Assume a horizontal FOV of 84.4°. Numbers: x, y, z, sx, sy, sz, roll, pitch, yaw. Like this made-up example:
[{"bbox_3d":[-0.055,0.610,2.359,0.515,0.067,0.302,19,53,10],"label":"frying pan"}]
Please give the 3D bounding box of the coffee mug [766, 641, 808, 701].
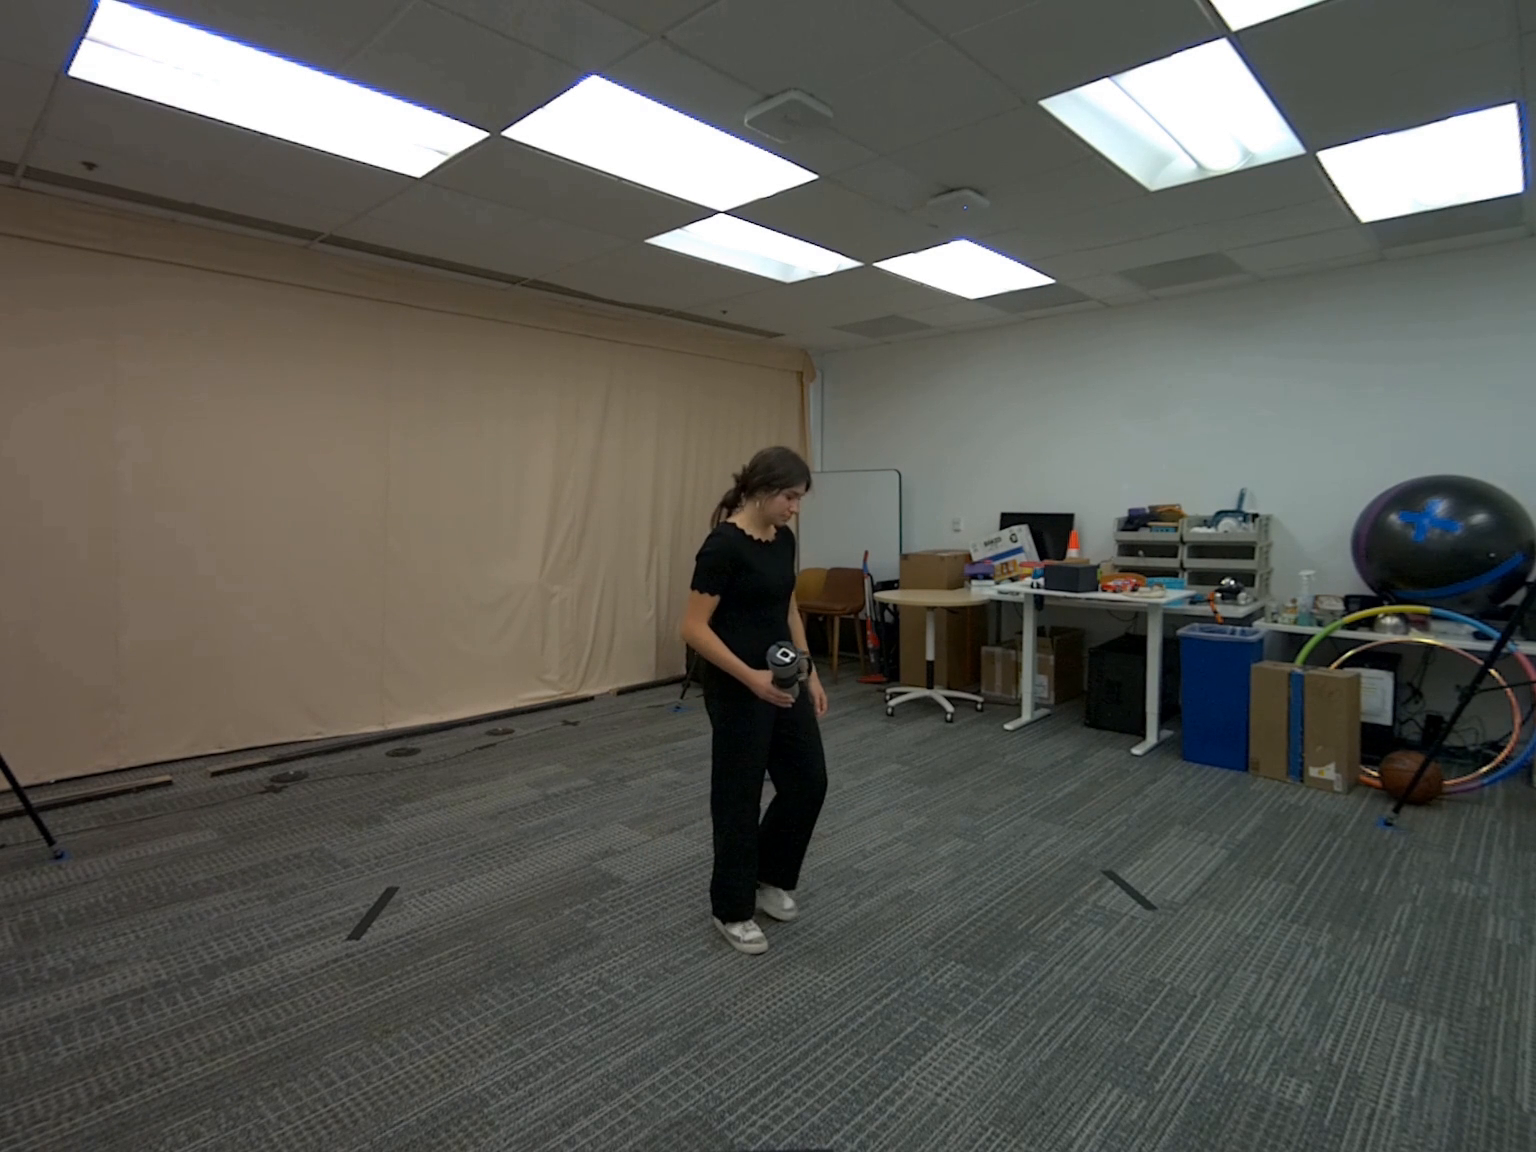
[{"bbox_3d":[0.069,0.286,2.430,0.125,0.198,0.088,11,48,20],"label":"coffee mug"}]
